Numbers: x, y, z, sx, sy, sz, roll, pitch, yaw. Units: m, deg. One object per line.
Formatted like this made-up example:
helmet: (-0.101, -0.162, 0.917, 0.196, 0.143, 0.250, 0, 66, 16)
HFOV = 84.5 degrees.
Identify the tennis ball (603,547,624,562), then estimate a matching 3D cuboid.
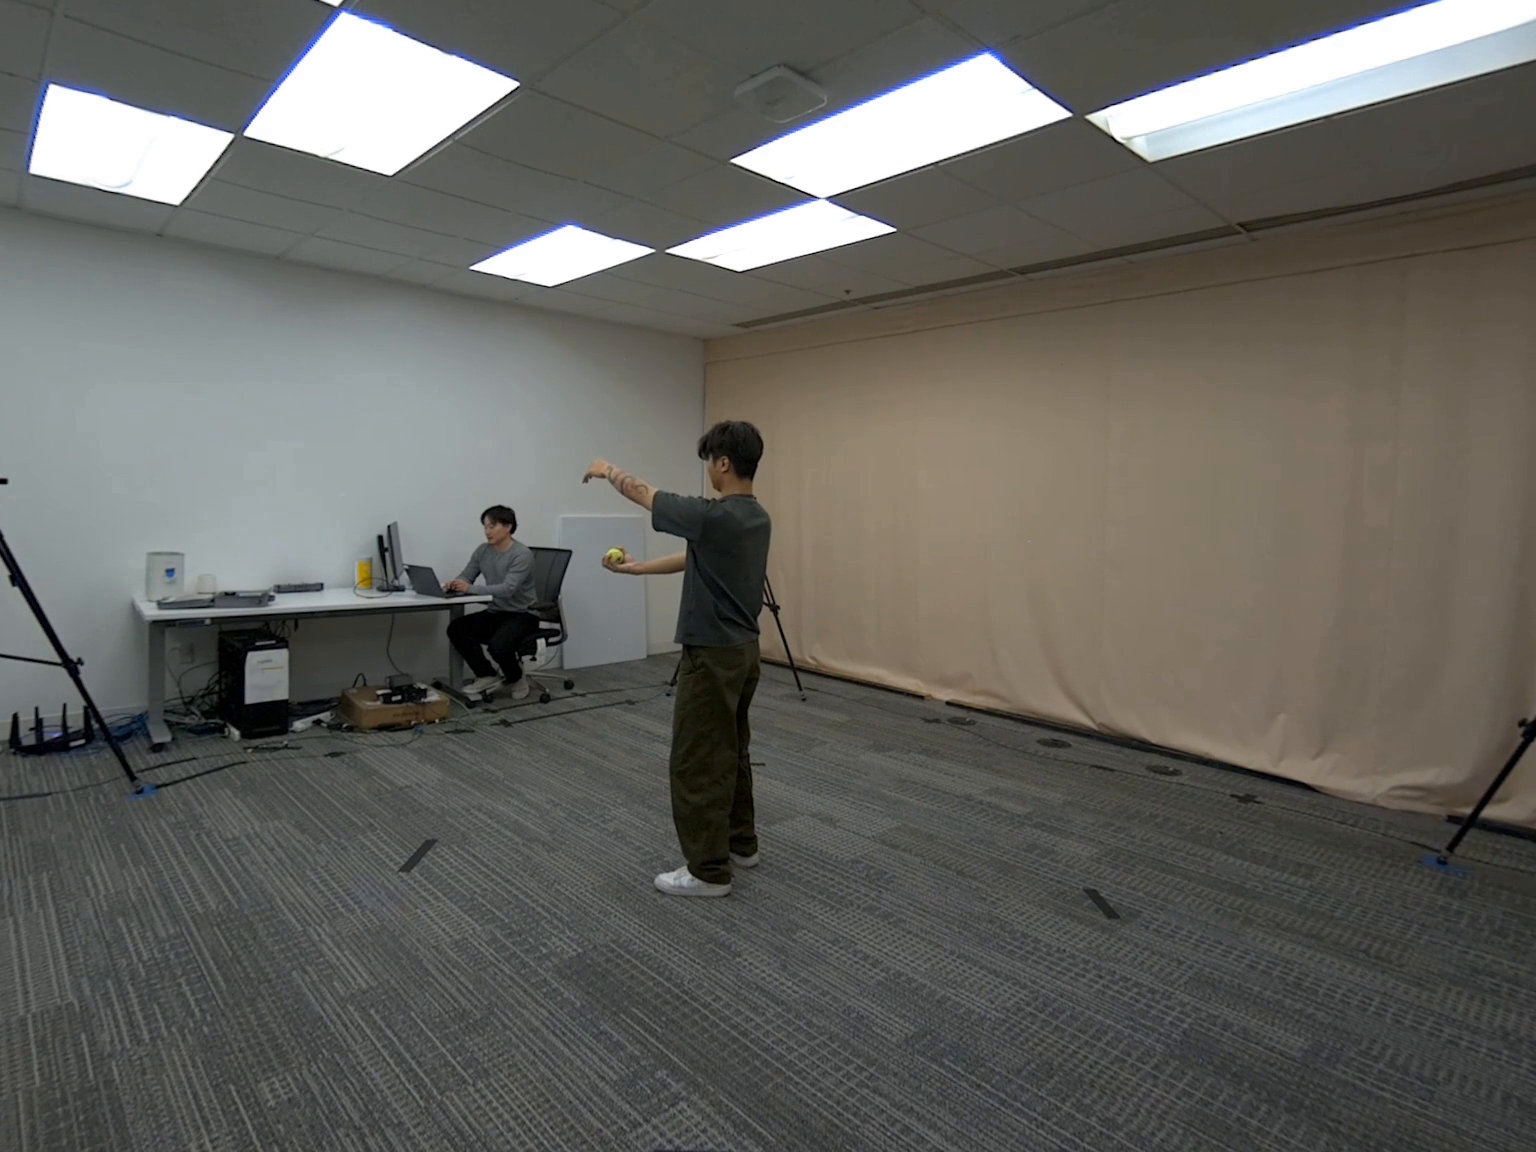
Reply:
tennis ball: (-0.613, -0.123, 3.281, 0.066, 0.066, 0.067, 1, 4, -1)
